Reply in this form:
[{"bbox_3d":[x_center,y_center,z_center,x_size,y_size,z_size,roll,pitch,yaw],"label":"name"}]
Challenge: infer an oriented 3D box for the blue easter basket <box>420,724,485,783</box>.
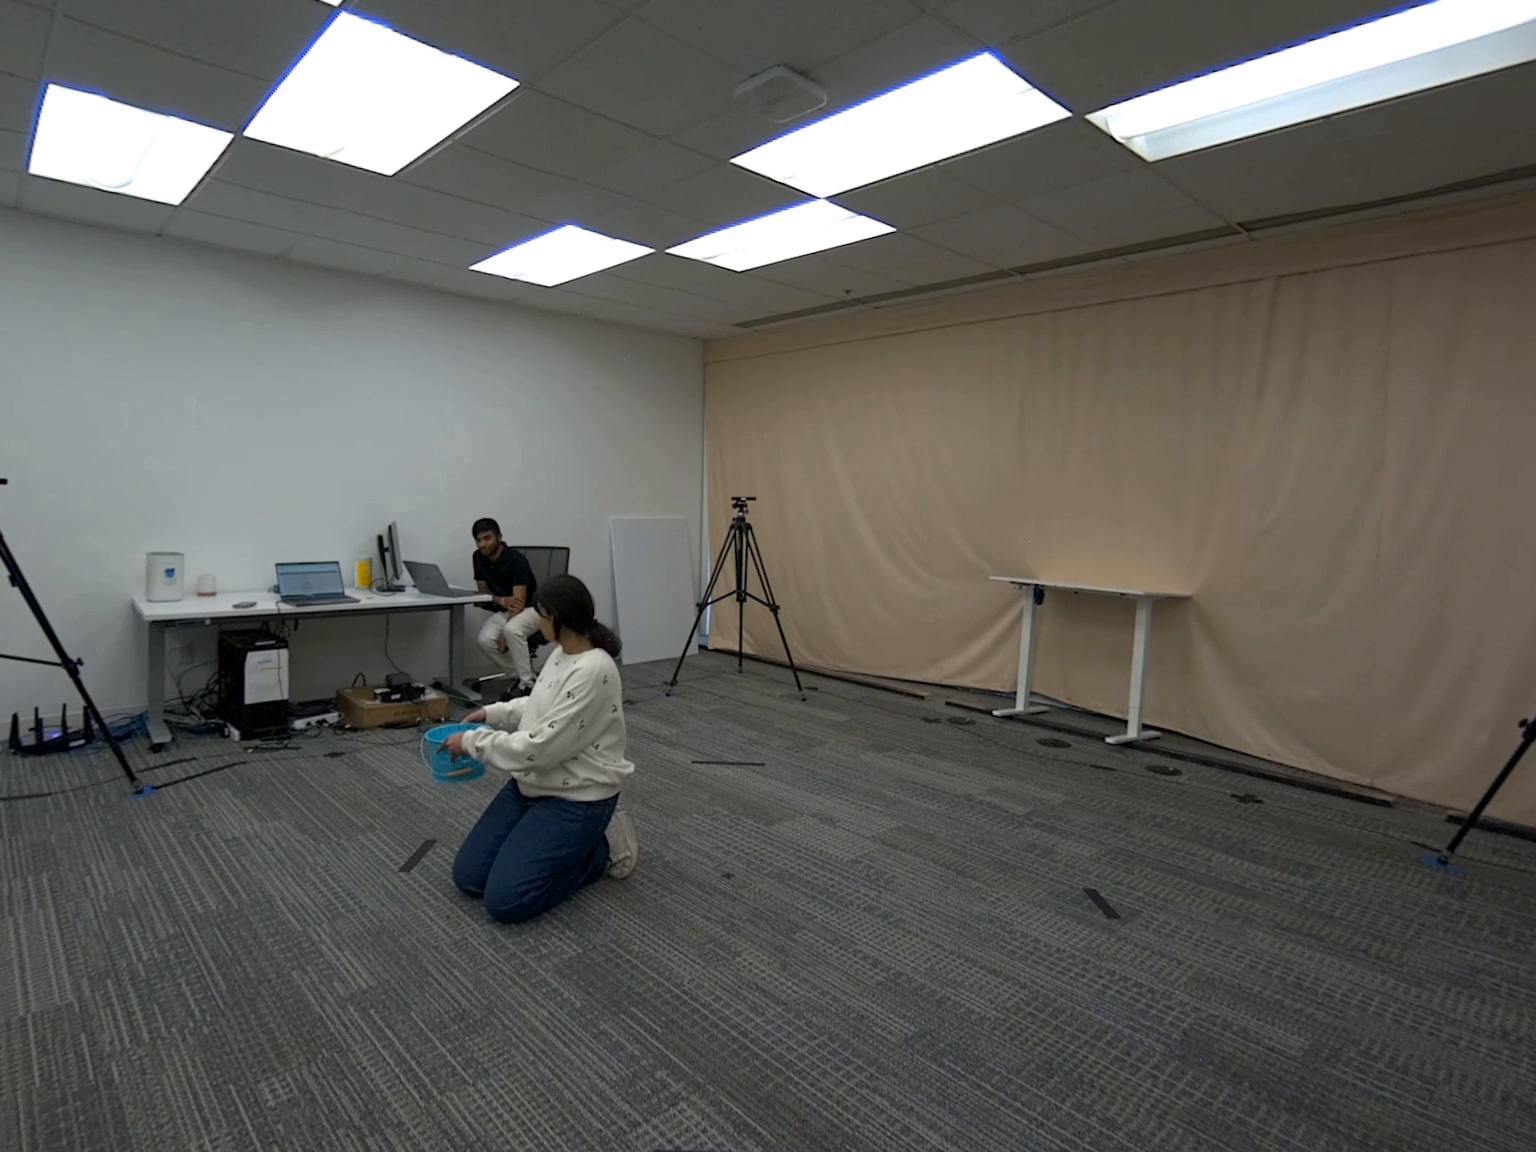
[{"bbox_3d":[-1.111,0.630,2.996,0.243,0.155,0.244,-1,4,-1],"label":"blue easter basket"}]
